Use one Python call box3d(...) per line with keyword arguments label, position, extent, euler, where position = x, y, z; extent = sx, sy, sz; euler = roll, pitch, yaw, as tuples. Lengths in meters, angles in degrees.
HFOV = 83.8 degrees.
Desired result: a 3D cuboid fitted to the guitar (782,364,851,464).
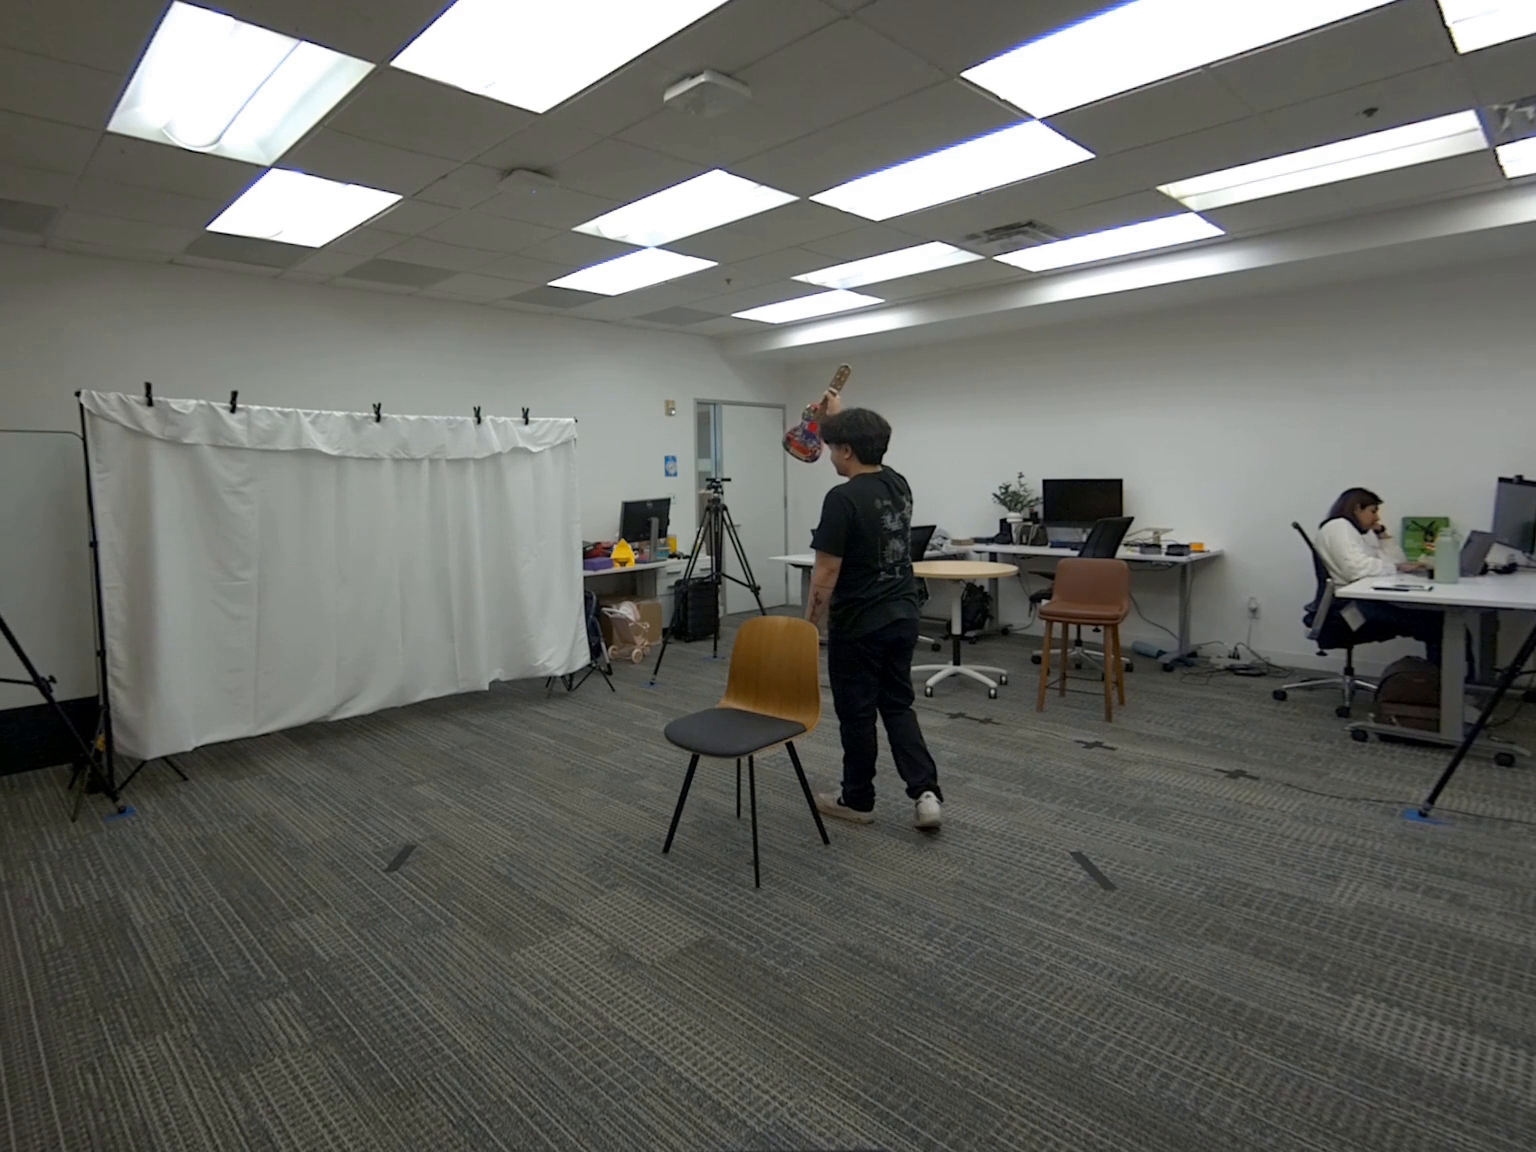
box3d(label="guitar", position=(0.261, -0.726, 3.894), extent=(0.193, 0.496, 0.071), euler=(39, 28, 0))
